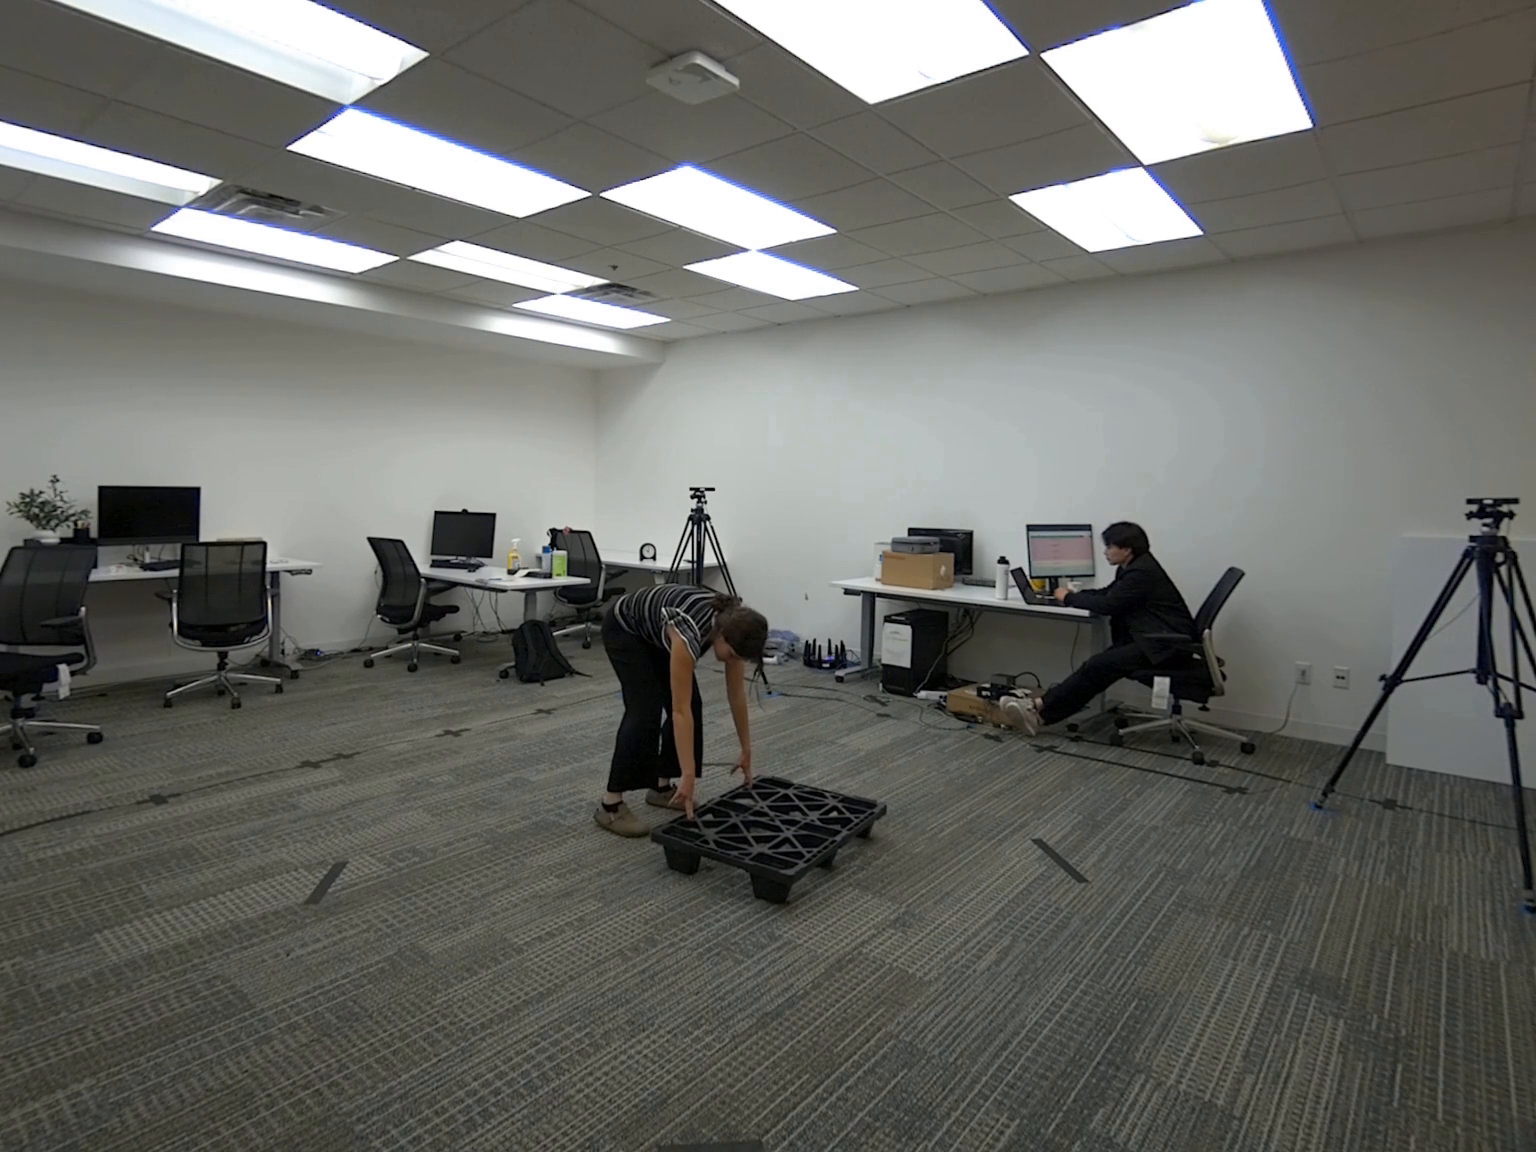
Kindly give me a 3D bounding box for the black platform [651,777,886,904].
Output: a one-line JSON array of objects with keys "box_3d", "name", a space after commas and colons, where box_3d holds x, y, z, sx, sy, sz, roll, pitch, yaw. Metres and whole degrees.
[{"box_3d": [0.018, 0.987, 3.269, 0.624, 0.143, 0.784, 5, 7, 32], "name": "black platform"}]
